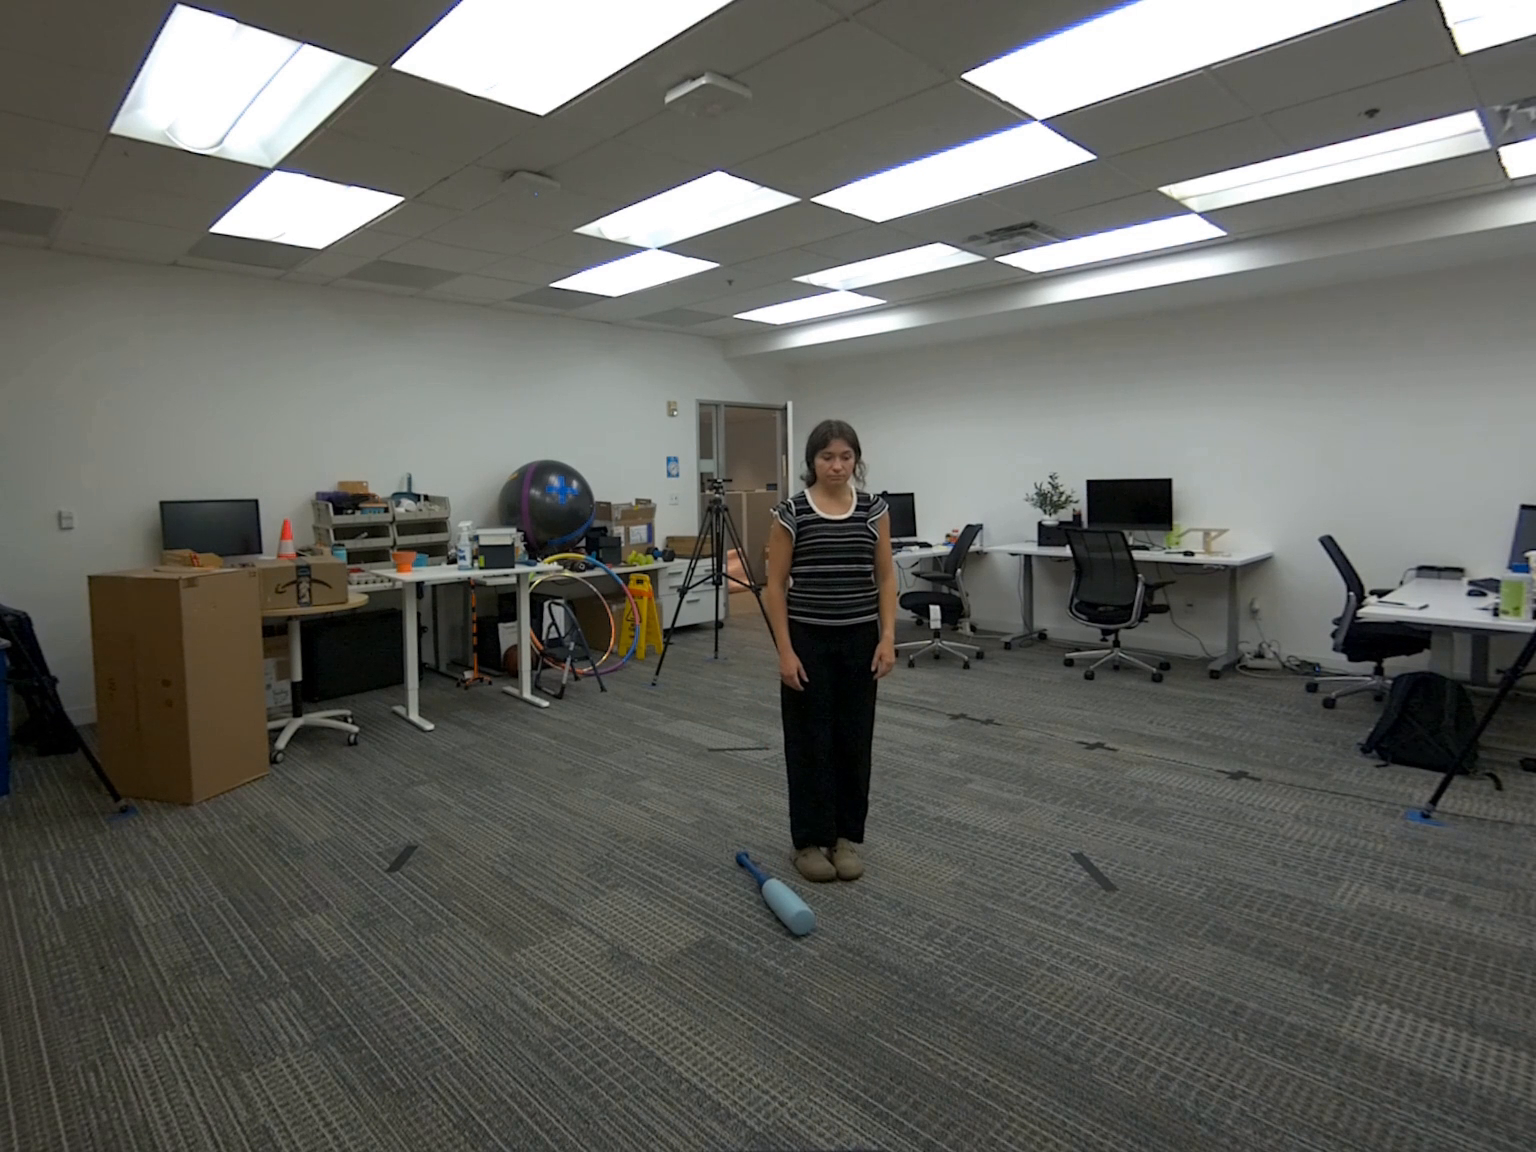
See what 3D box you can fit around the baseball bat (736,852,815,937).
[{"bbox_3d":[0.004,1.040,2.842,0.087,0.089,0.554,-3,4,-22],"label":"baseball bat"}]
